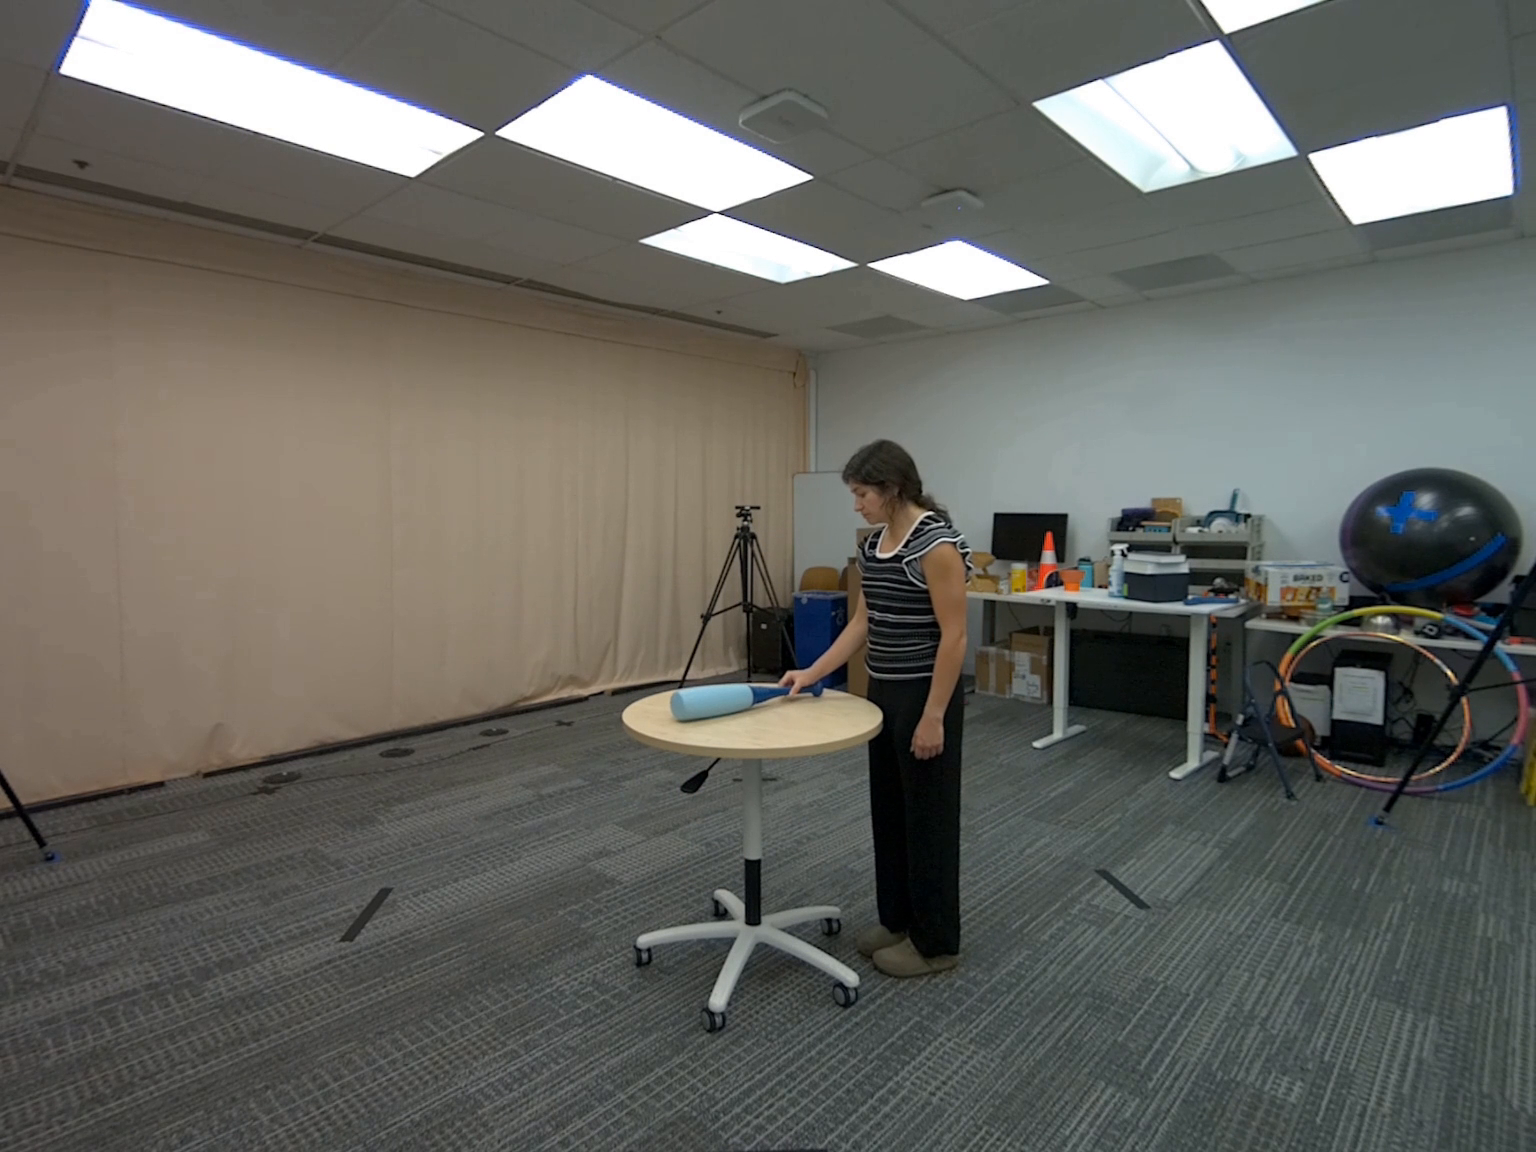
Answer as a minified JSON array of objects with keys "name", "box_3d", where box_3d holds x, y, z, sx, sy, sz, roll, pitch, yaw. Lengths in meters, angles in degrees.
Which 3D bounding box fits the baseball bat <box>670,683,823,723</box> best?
[{"name":"baseball bat","box_3d":[-0.043,0.370,2.523,0.527,0.089,0.092,0,3,-33]}]
